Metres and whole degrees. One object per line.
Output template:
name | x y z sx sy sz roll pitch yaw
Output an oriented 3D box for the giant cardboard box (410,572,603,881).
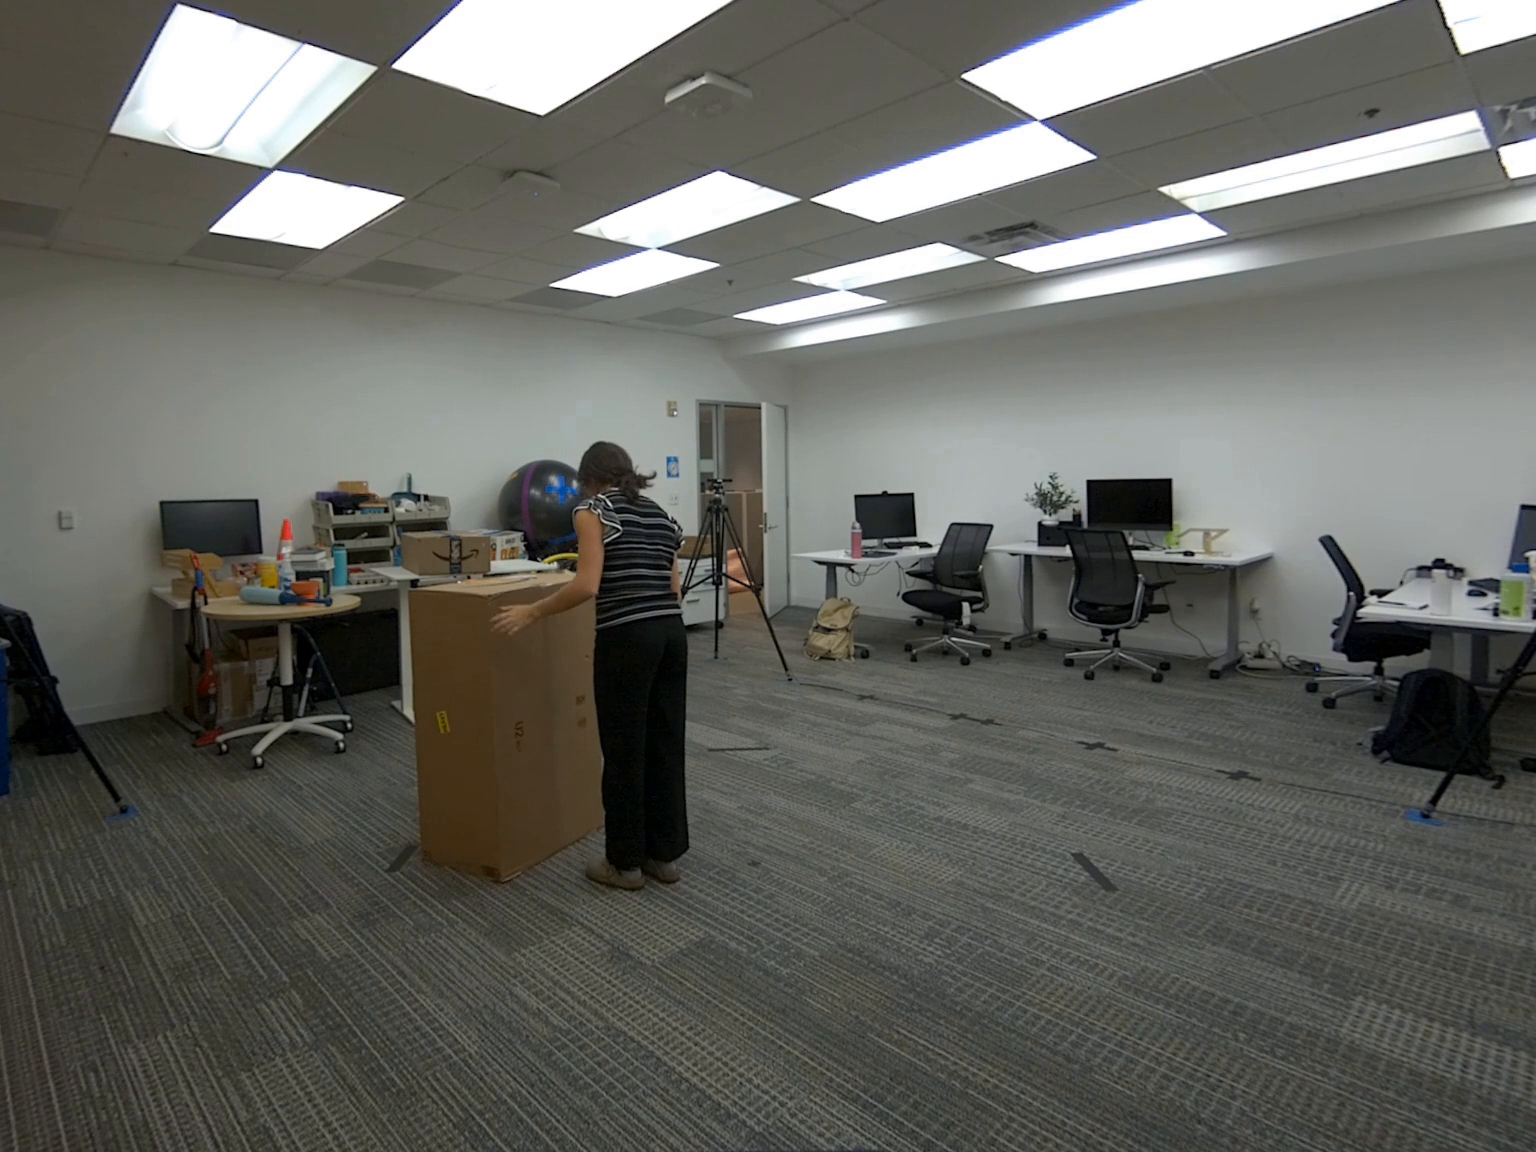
giant cardboard box | -0.999 0.530 3.309 0.437 1.022 0.565 1 5 29
